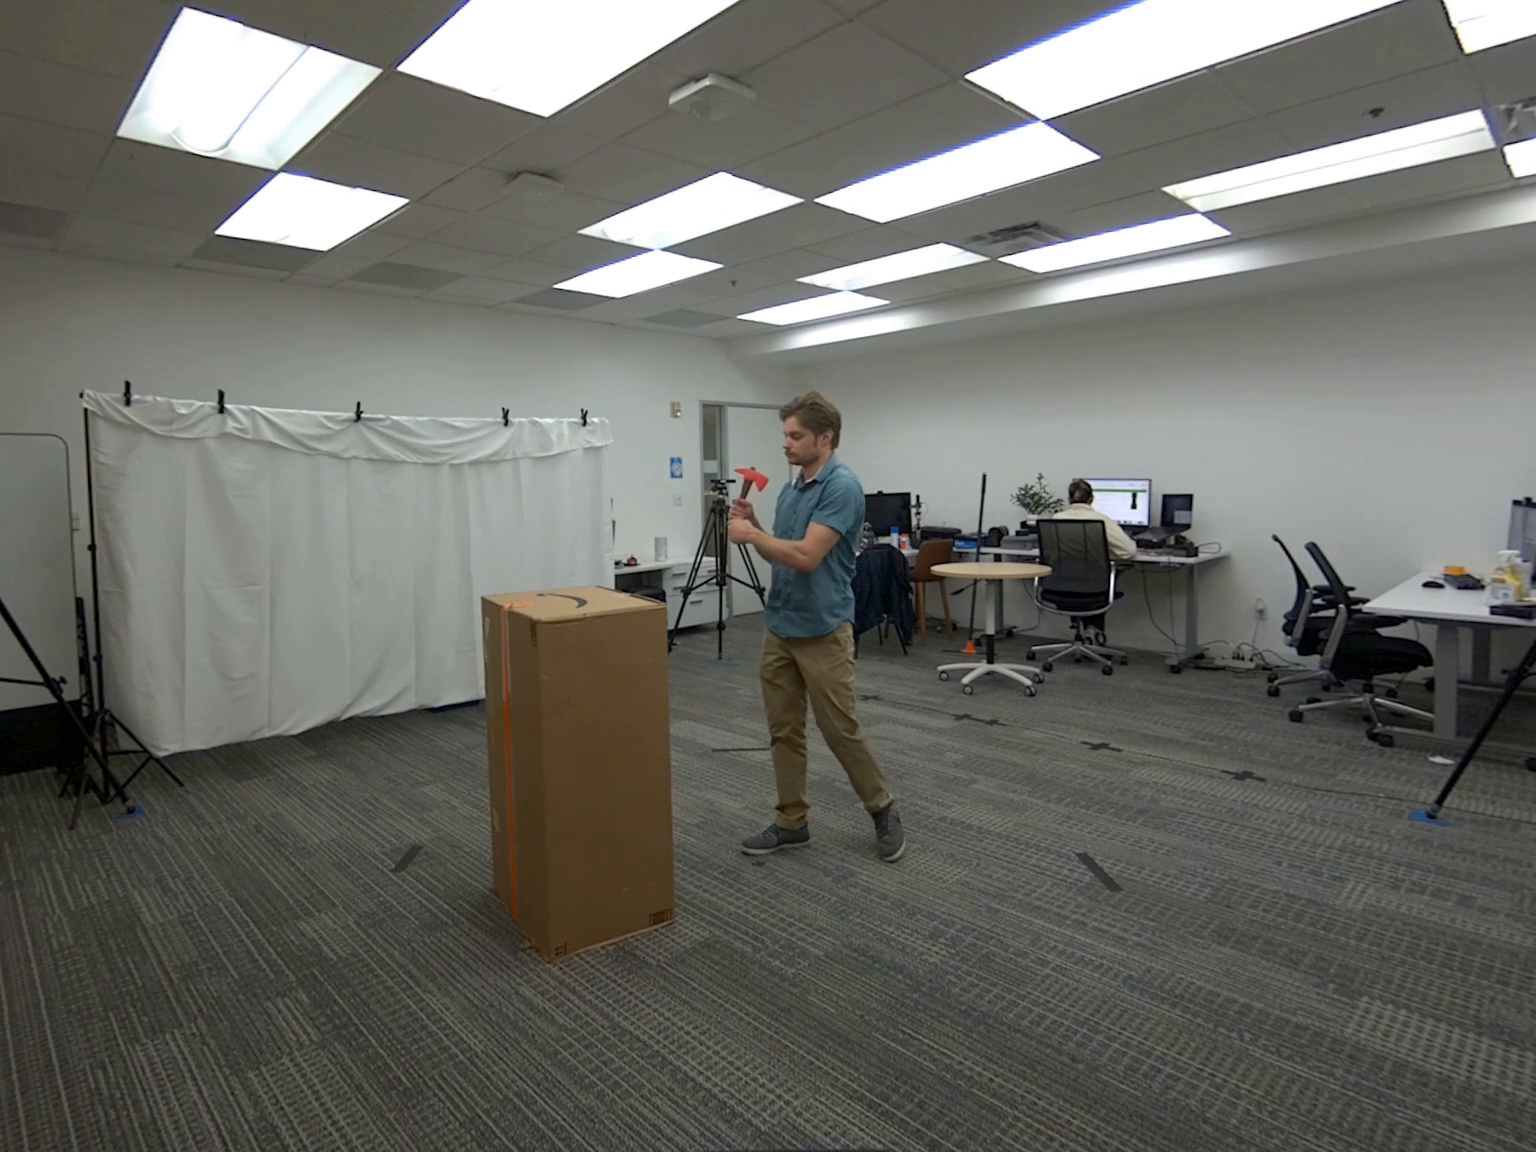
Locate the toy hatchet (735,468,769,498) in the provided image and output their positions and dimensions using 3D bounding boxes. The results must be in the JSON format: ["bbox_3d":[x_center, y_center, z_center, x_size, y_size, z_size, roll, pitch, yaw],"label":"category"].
[{"bbox_3d":[-0.029,-0.278,3.171,0.131,0.270,0.029,-2,0,1],"label":"toy hatchet"}]
